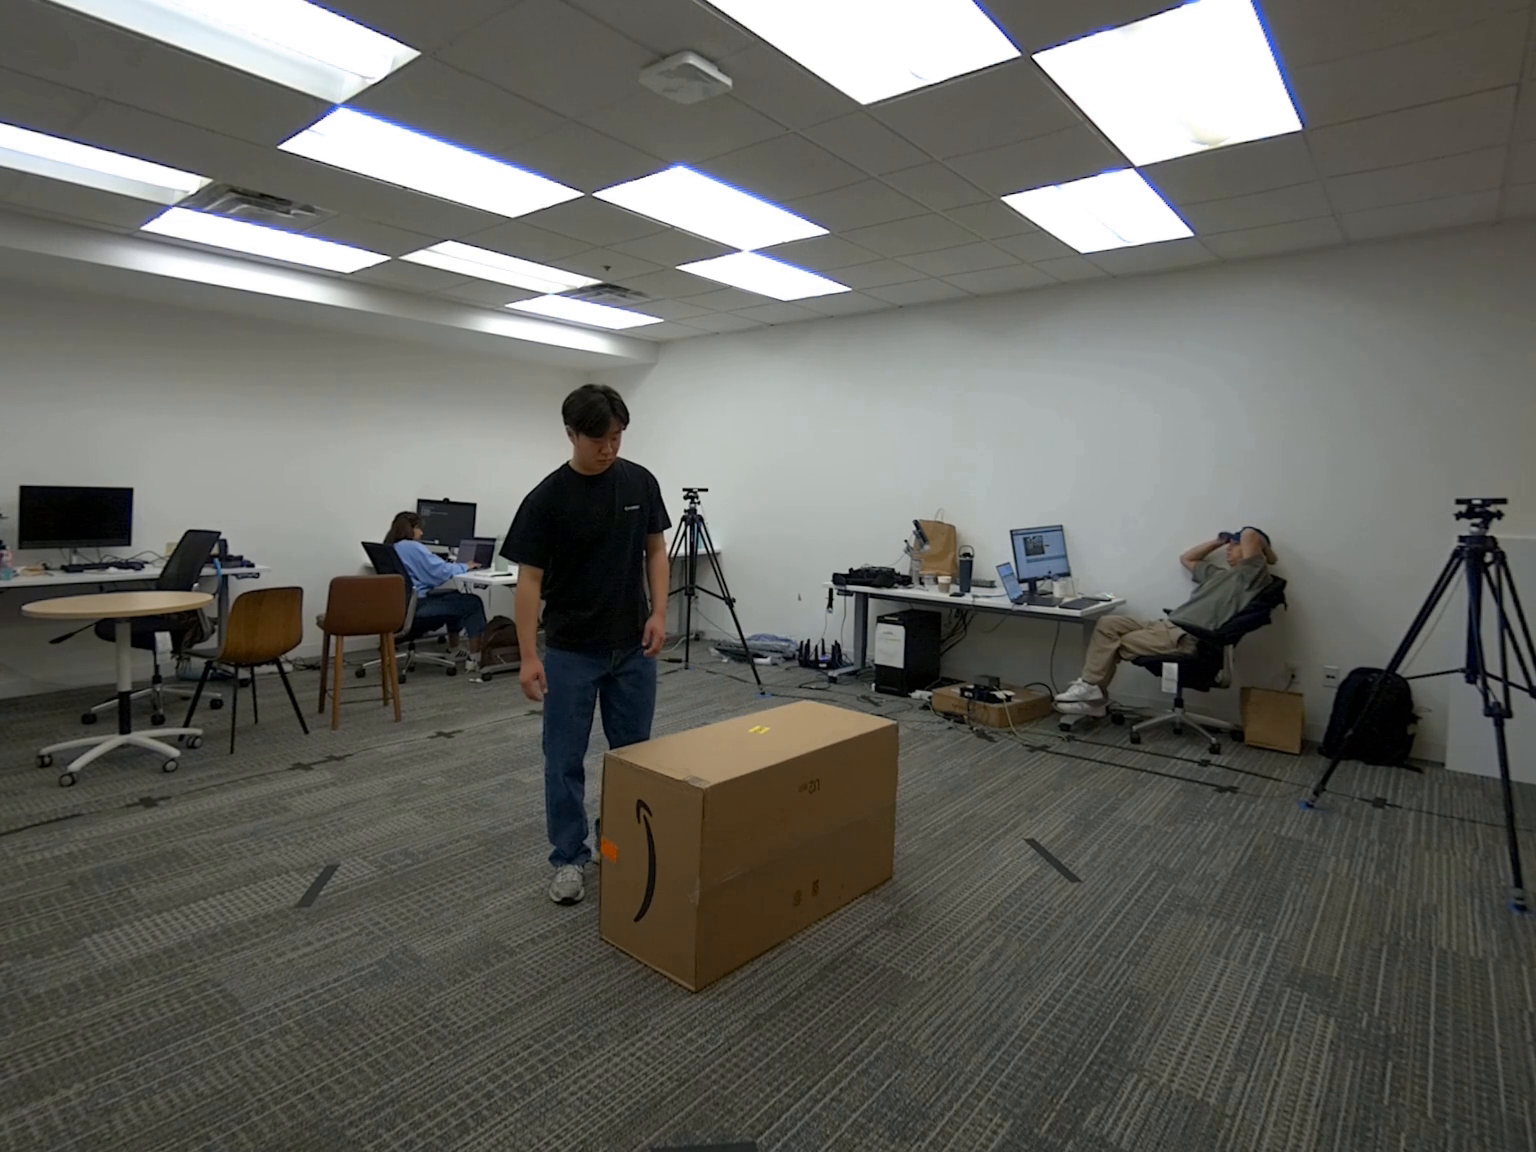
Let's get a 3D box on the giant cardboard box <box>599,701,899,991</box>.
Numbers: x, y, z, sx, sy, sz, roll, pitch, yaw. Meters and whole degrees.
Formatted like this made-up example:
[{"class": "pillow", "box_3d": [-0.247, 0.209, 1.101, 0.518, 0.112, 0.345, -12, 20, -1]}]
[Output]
[{"class": "giant cardboard box", "box_3d": [-0.032, 0.815, 2.834, 0.462, 0.582, 0.996, 3, 5, 41]}]
